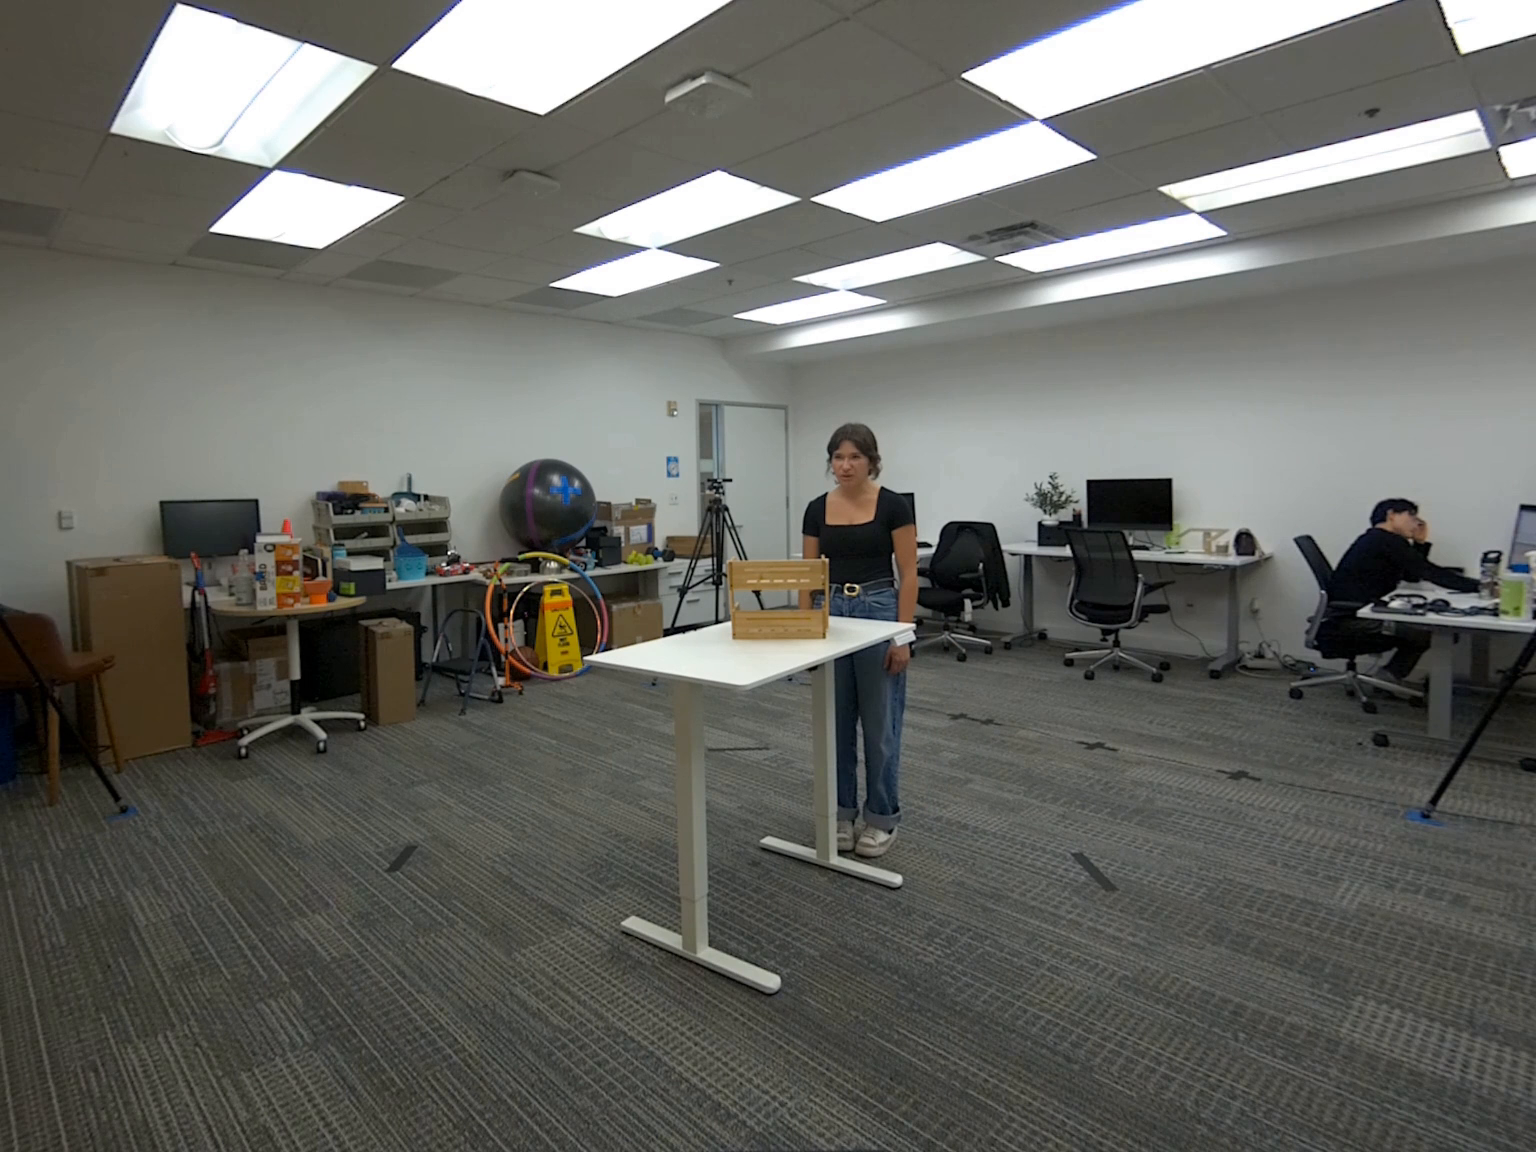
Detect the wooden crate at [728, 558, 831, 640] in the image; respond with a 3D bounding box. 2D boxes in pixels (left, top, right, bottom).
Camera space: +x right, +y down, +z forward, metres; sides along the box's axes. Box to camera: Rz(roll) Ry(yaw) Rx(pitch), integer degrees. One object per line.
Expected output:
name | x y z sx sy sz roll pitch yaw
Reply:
wooden crate | 0.044 0.064 2.835 0.326 0.272 0.302 -2 5 4
